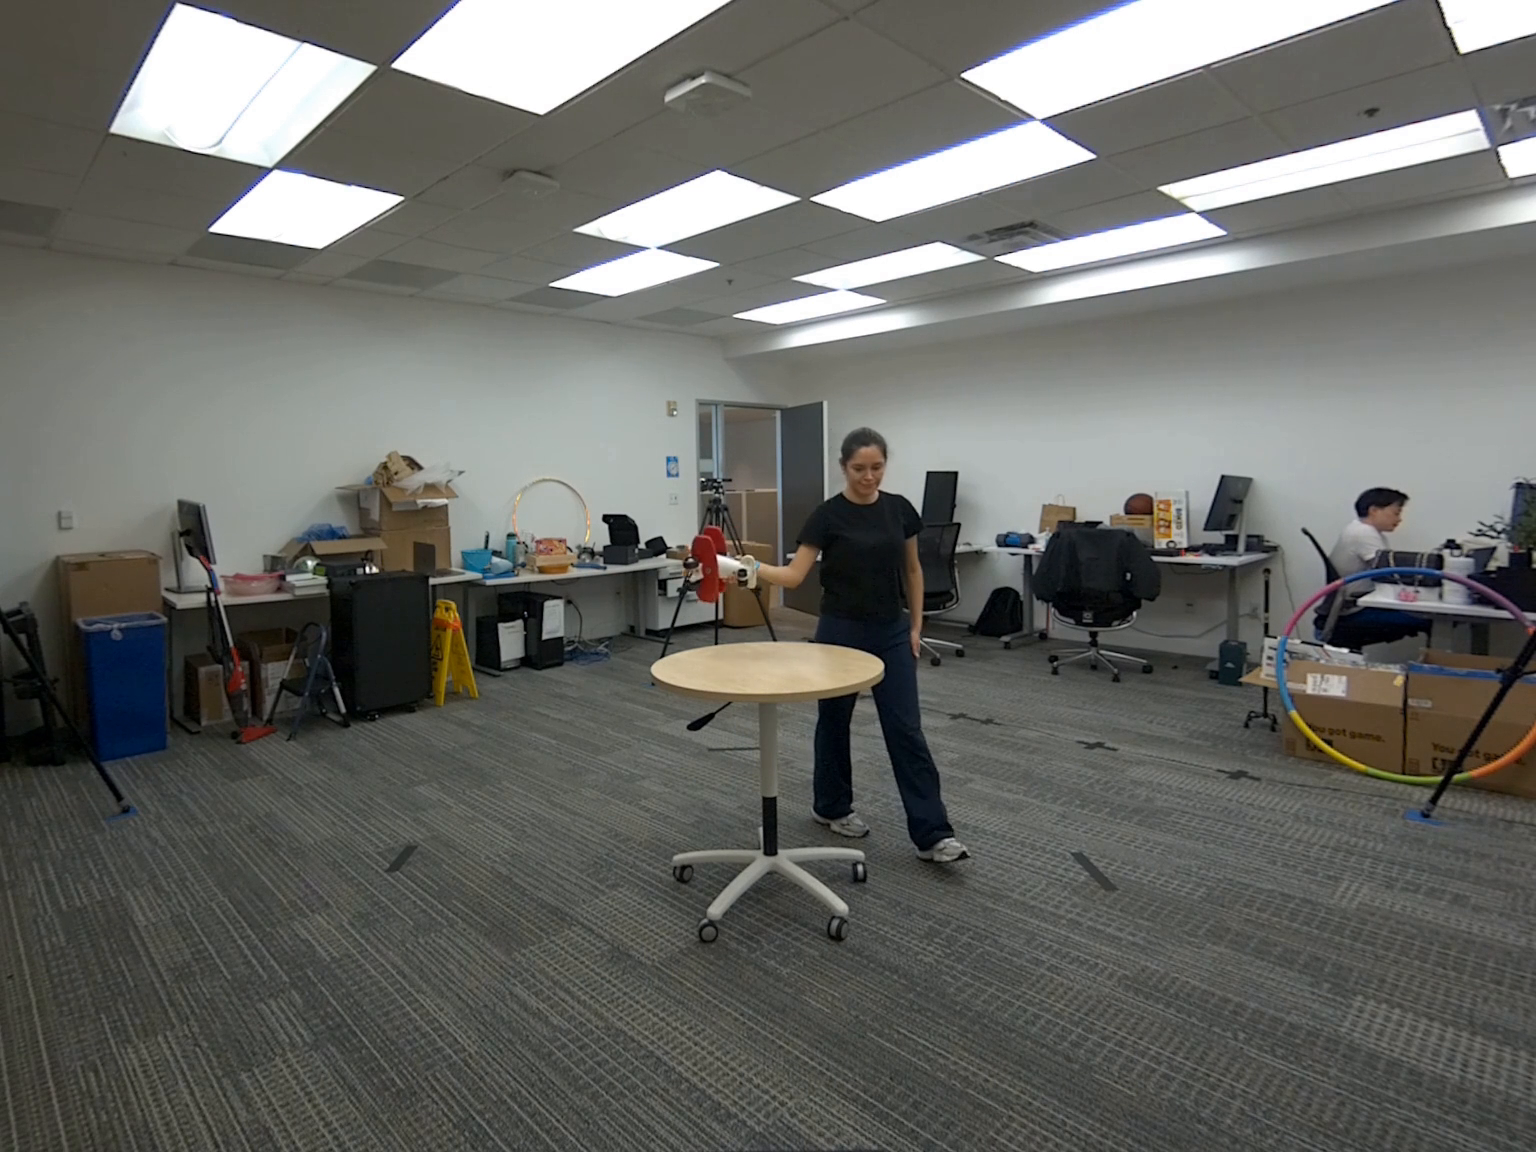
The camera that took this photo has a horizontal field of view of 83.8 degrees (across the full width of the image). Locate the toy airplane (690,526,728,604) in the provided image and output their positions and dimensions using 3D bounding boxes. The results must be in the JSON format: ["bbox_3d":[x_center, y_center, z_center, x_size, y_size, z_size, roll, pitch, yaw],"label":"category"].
[{"bbox_3d":[-0.156,-0.019,2.929,0.258,0.249,0.158,27,29,-3],"label":"toy airplane"}]
